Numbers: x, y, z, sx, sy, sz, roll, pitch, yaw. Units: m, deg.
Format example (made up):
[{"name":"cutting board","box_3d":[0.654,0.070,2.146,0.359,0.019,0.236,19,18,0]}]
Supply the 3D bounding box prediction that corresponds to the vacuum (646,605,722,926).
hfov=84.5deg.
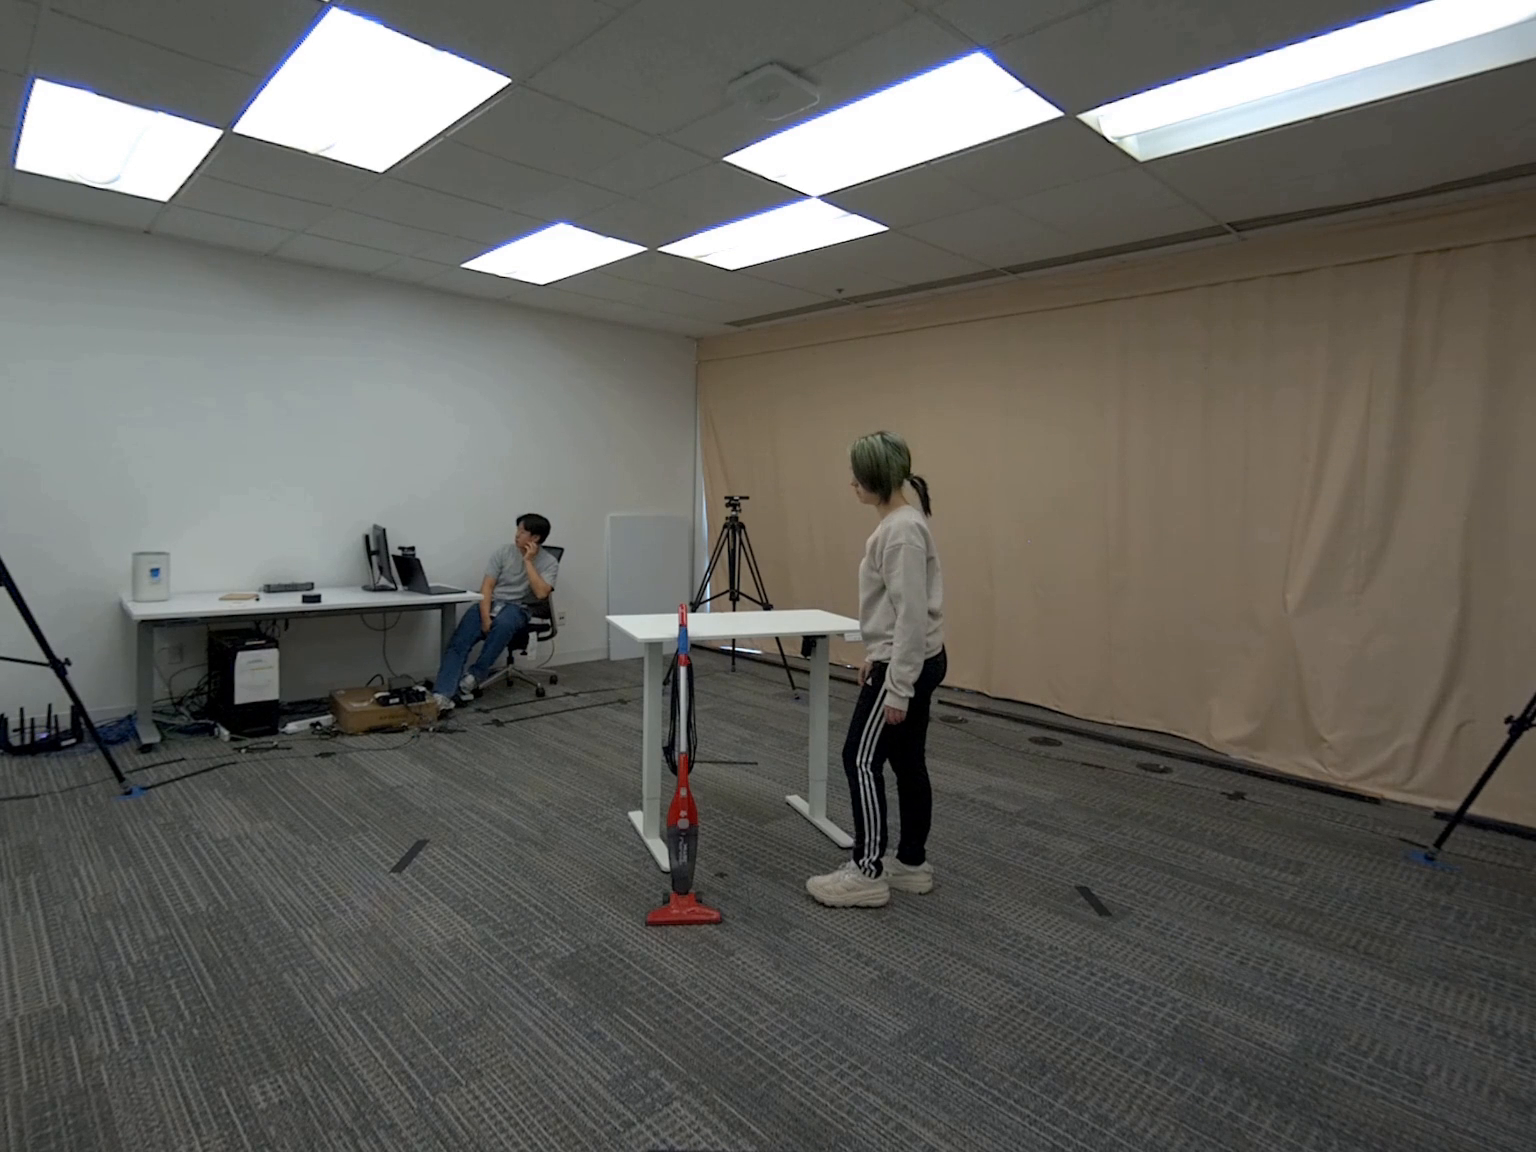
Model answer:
[{"name":"vacuum","box_3d":[-0.312,0.629,2.958,0.250,1.064,0.143,1,-19,-11]}]
